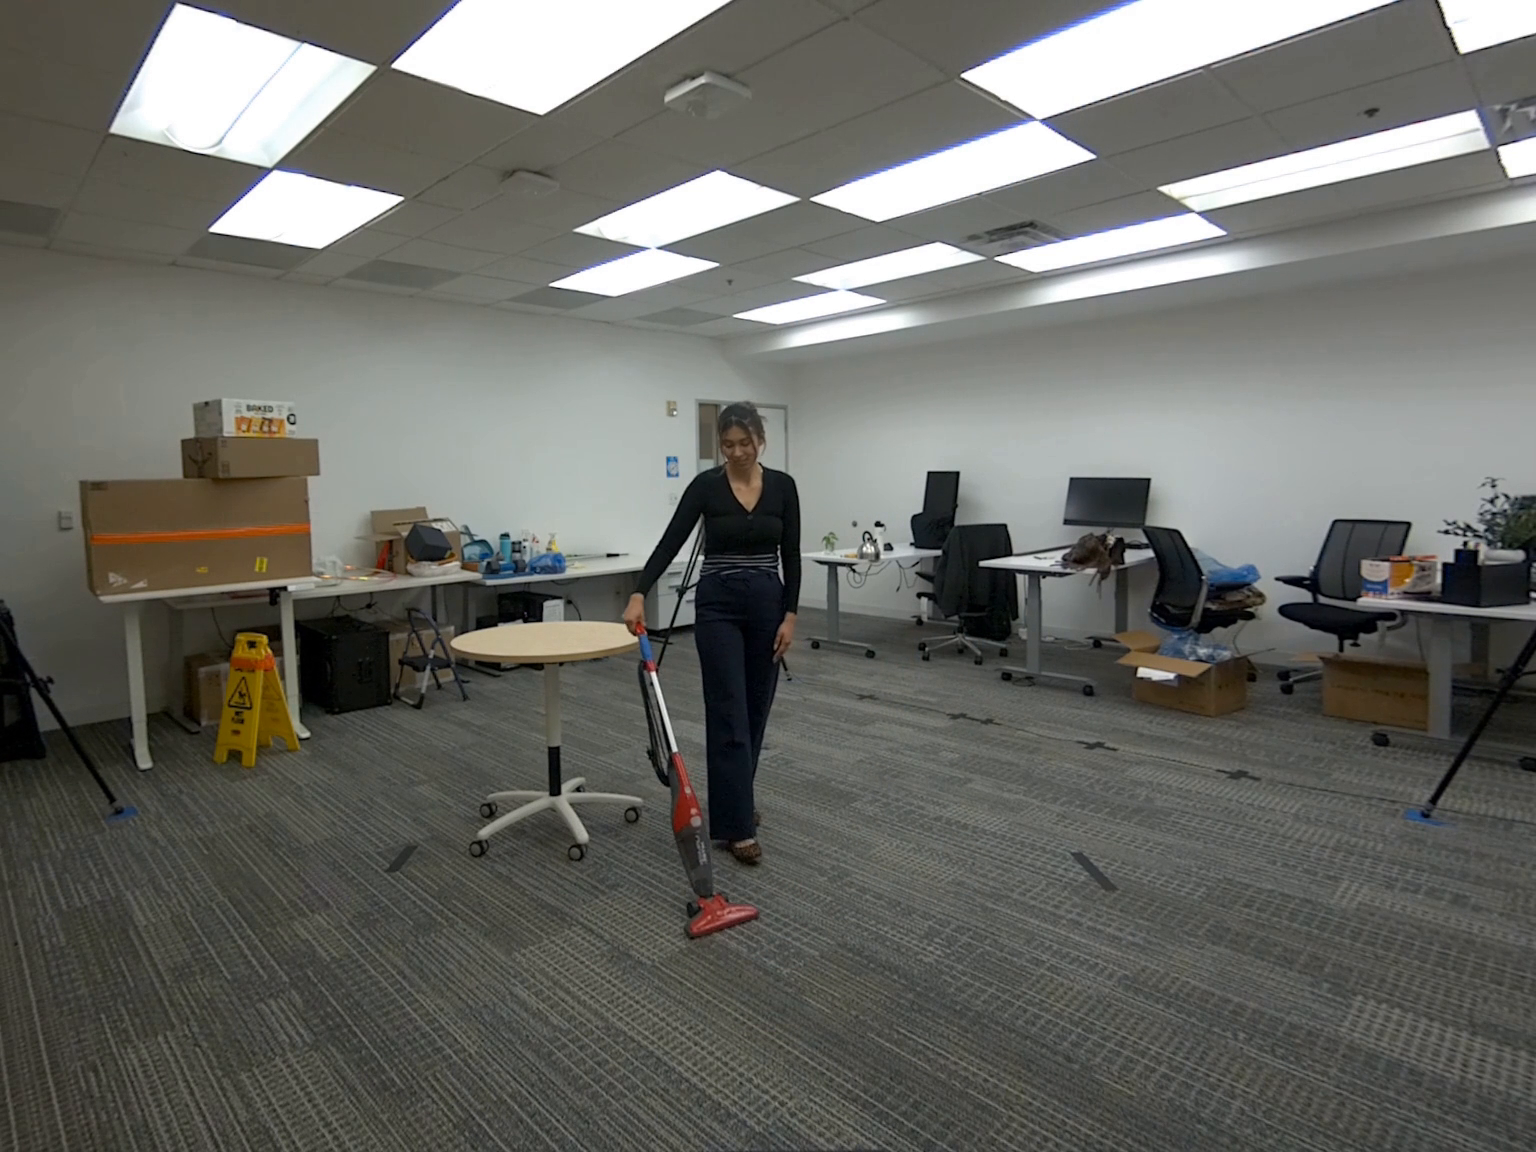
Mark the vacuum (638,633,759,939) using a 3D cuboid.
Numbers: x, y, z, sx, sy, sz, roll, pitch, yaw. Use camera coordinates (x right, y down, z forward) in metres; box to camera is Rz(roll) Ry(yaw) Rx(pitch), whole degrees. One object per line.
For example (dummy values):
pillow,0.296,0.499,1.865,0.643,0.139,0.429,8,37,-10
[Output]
vacuum,-0.327,0.624,2.931,0.246,1.078,0.143,-4,-29,-31
